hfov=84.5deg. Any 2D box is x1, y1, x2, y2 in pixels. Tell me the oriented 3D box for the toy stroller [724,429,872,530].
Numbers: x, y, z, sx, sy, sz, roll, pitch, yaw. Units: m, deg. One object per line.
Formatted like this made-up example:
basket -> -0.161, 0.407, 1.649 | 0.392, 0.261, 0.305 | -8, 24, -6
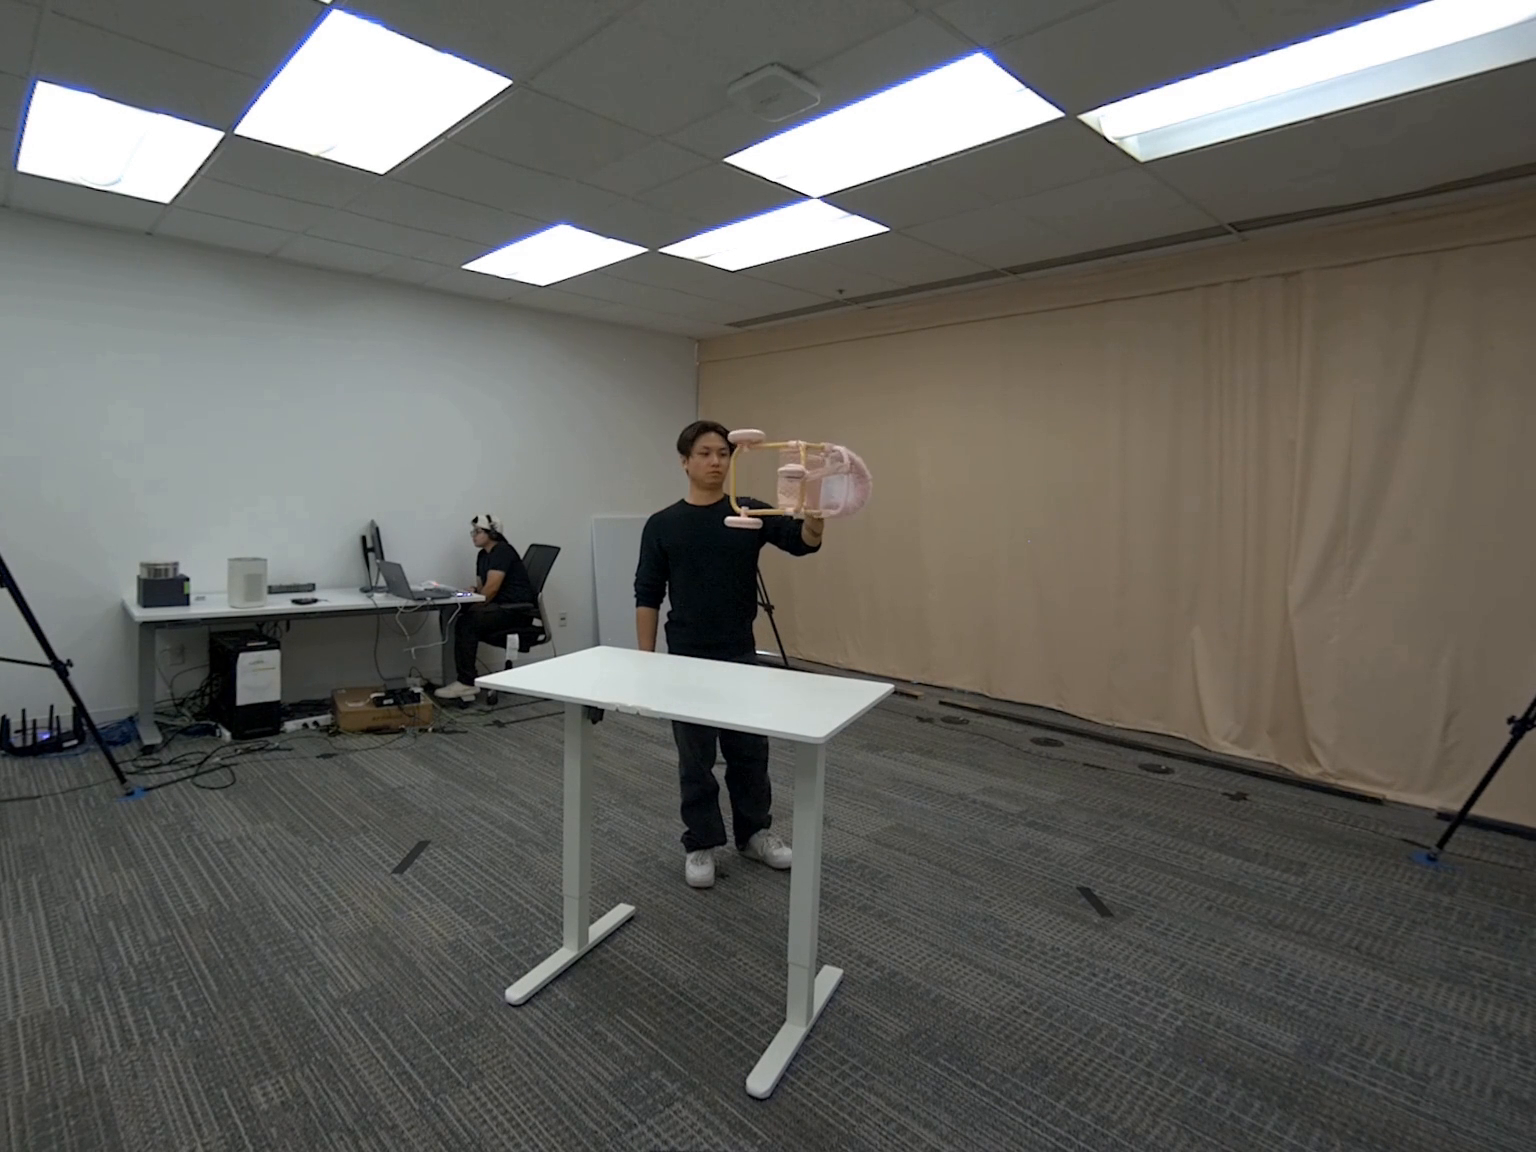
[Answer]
toy stroller -> 0.115, -0.281, 2.482 | 0.349, 0.282, 0.522 | -2, -2, 44
